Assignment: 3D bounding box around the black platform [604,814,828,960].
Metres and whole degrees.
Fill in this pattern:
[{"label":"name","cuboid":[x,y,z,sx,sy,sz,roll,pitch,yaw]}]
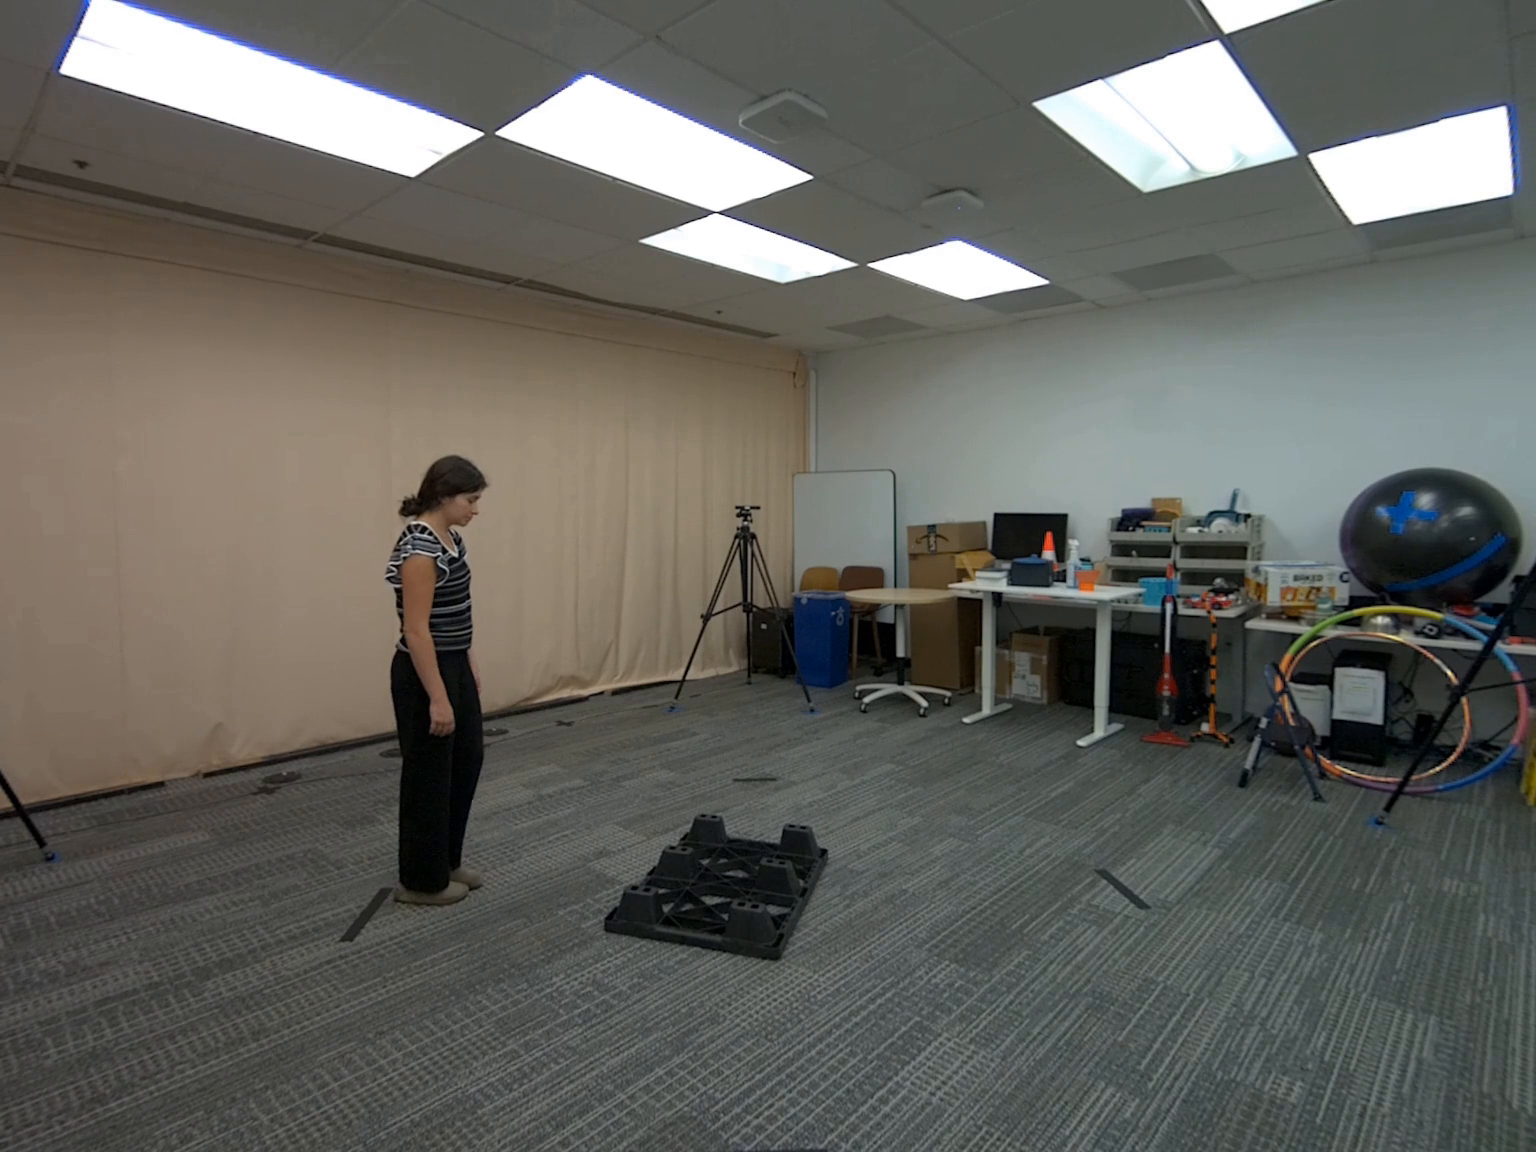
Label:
[{"label":"black platform","cuboid":[-0.153,1.073,3.037,0.616,0.143,0.793,2,5,16]}]
